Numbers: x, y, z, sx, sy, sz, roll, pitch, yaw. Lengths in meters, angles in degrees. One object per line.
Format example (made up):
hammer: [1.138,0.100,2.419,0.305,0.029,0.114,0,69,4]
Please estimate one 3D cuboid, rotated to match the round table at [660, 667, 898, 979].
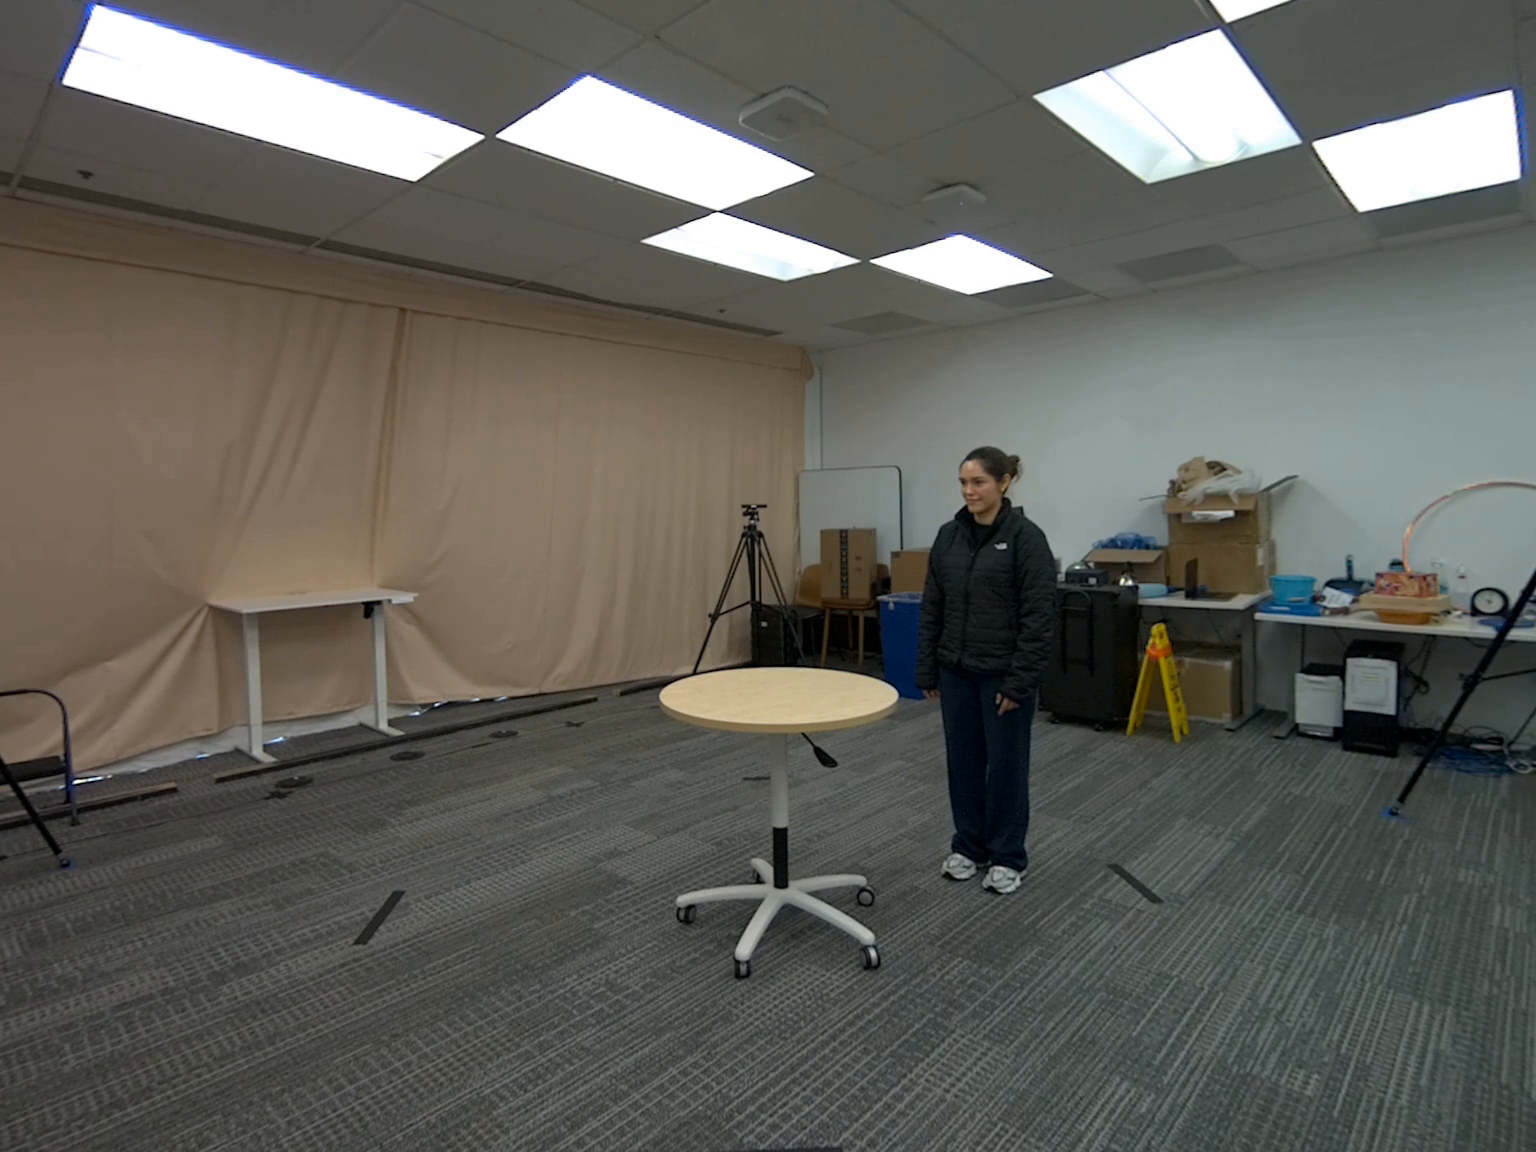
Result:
round table: [0.073,0.766,2.752,0.784,0.784,0.788,-1,5,-2]
